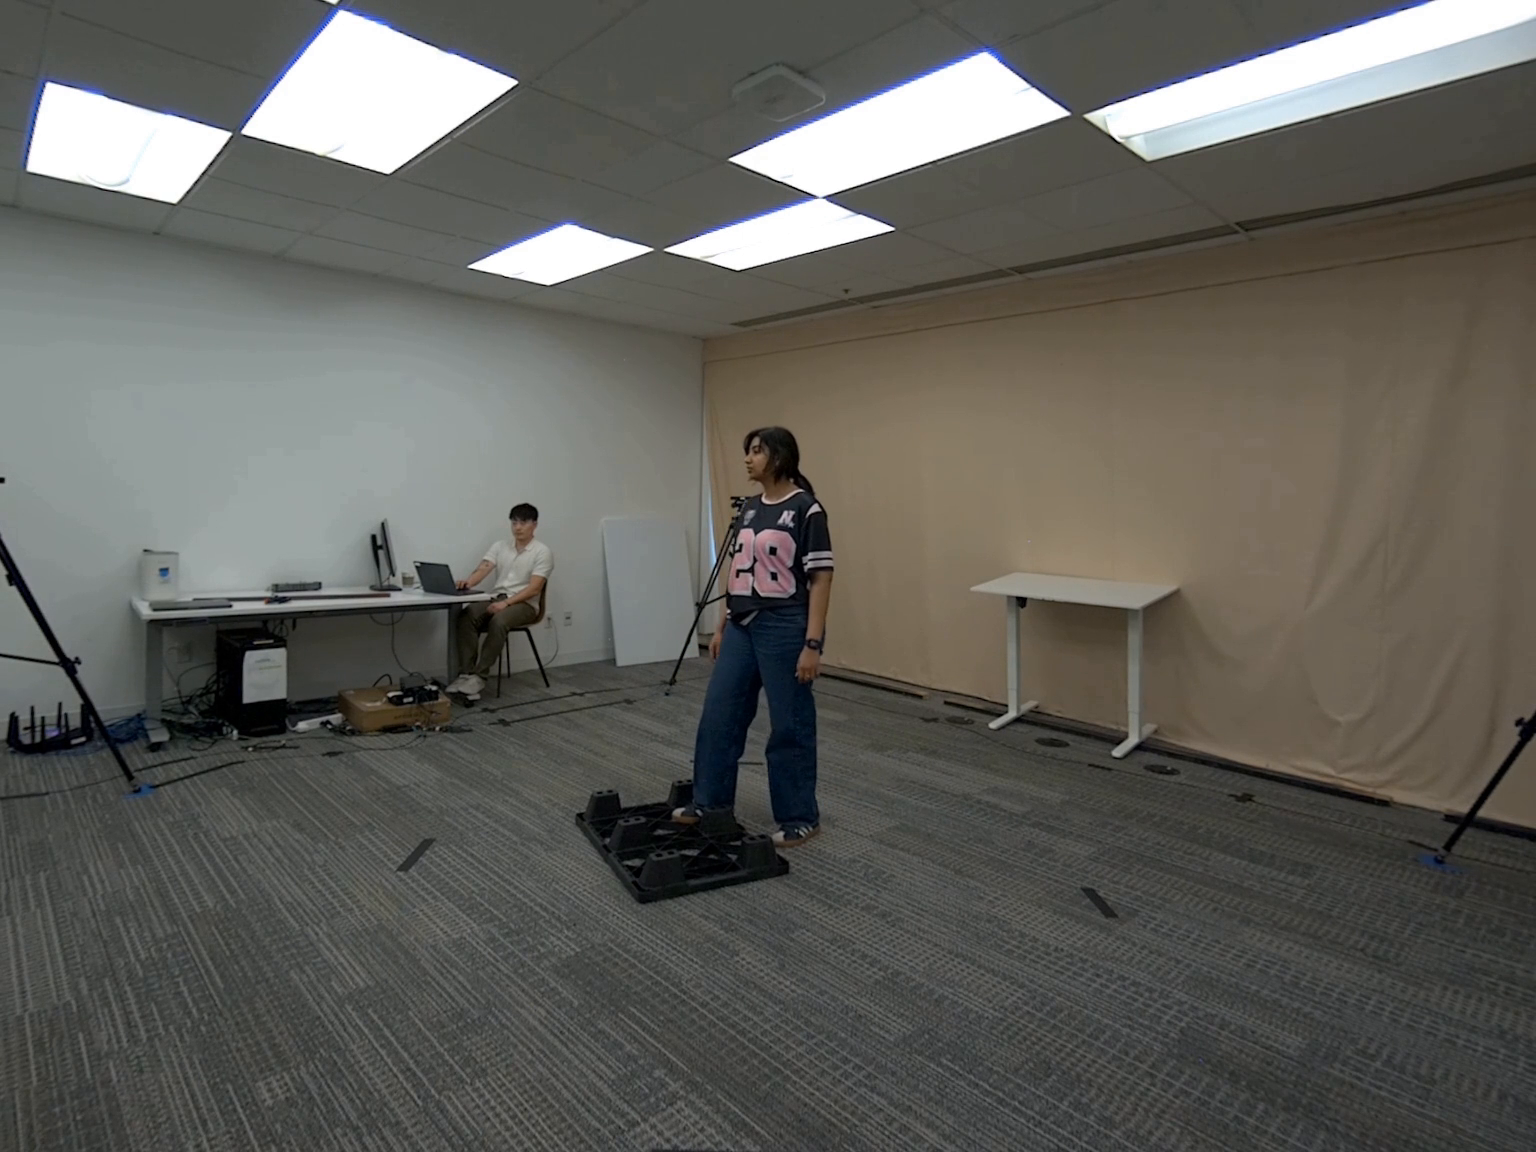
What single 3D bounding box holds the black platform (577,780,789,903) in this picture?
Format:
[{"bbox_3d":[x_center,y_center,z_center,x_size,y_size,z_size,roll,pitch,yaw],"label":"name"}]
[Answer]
[{"bbox_3d":[-0.368,1.014,3.341,0.593,0.143,0.824,-2,6,-28],"label":"black platform"}]
